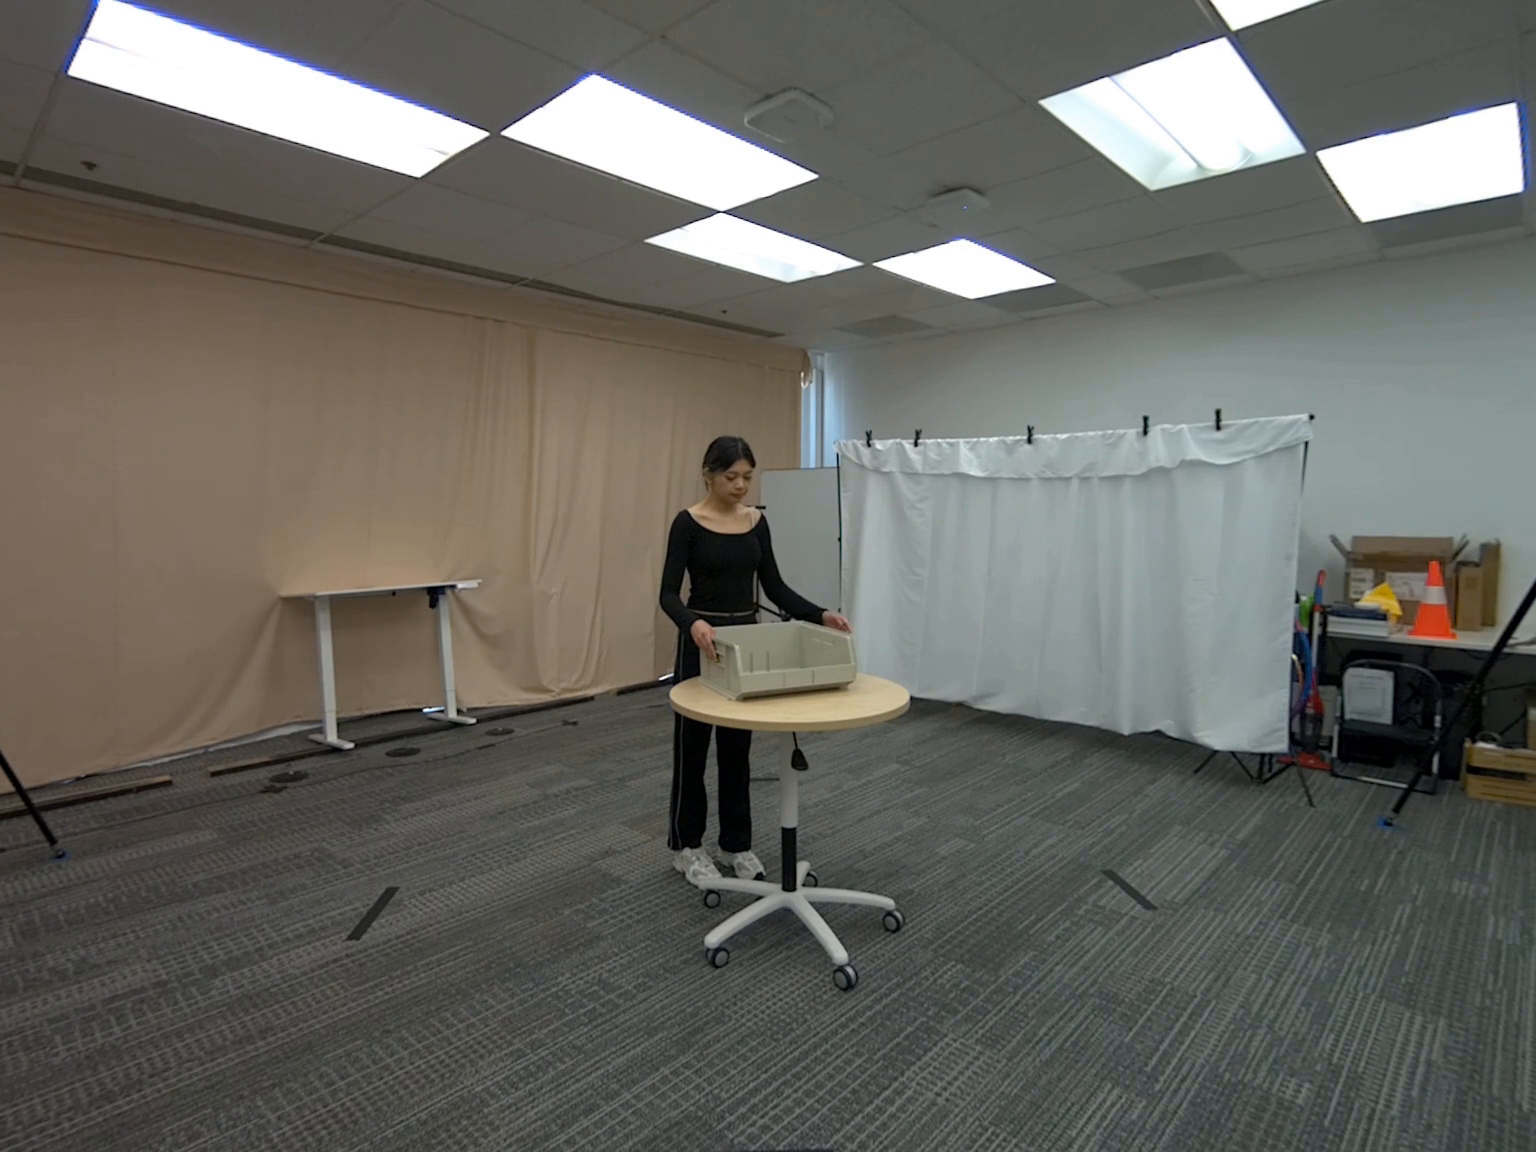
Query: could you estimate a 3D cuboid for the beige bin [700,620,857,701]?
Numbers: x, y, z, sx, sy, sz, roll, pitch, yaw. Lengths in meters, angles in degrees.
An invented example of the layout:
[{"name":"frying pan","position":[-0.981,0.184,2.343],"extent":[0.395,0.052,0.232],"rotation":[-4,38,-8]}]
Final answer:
[{"name":"beige bin","position":[0.026,0.276,2.784],"extent":[0.413,0.188,0.387],"rotation":[-4,6,-24]}]
